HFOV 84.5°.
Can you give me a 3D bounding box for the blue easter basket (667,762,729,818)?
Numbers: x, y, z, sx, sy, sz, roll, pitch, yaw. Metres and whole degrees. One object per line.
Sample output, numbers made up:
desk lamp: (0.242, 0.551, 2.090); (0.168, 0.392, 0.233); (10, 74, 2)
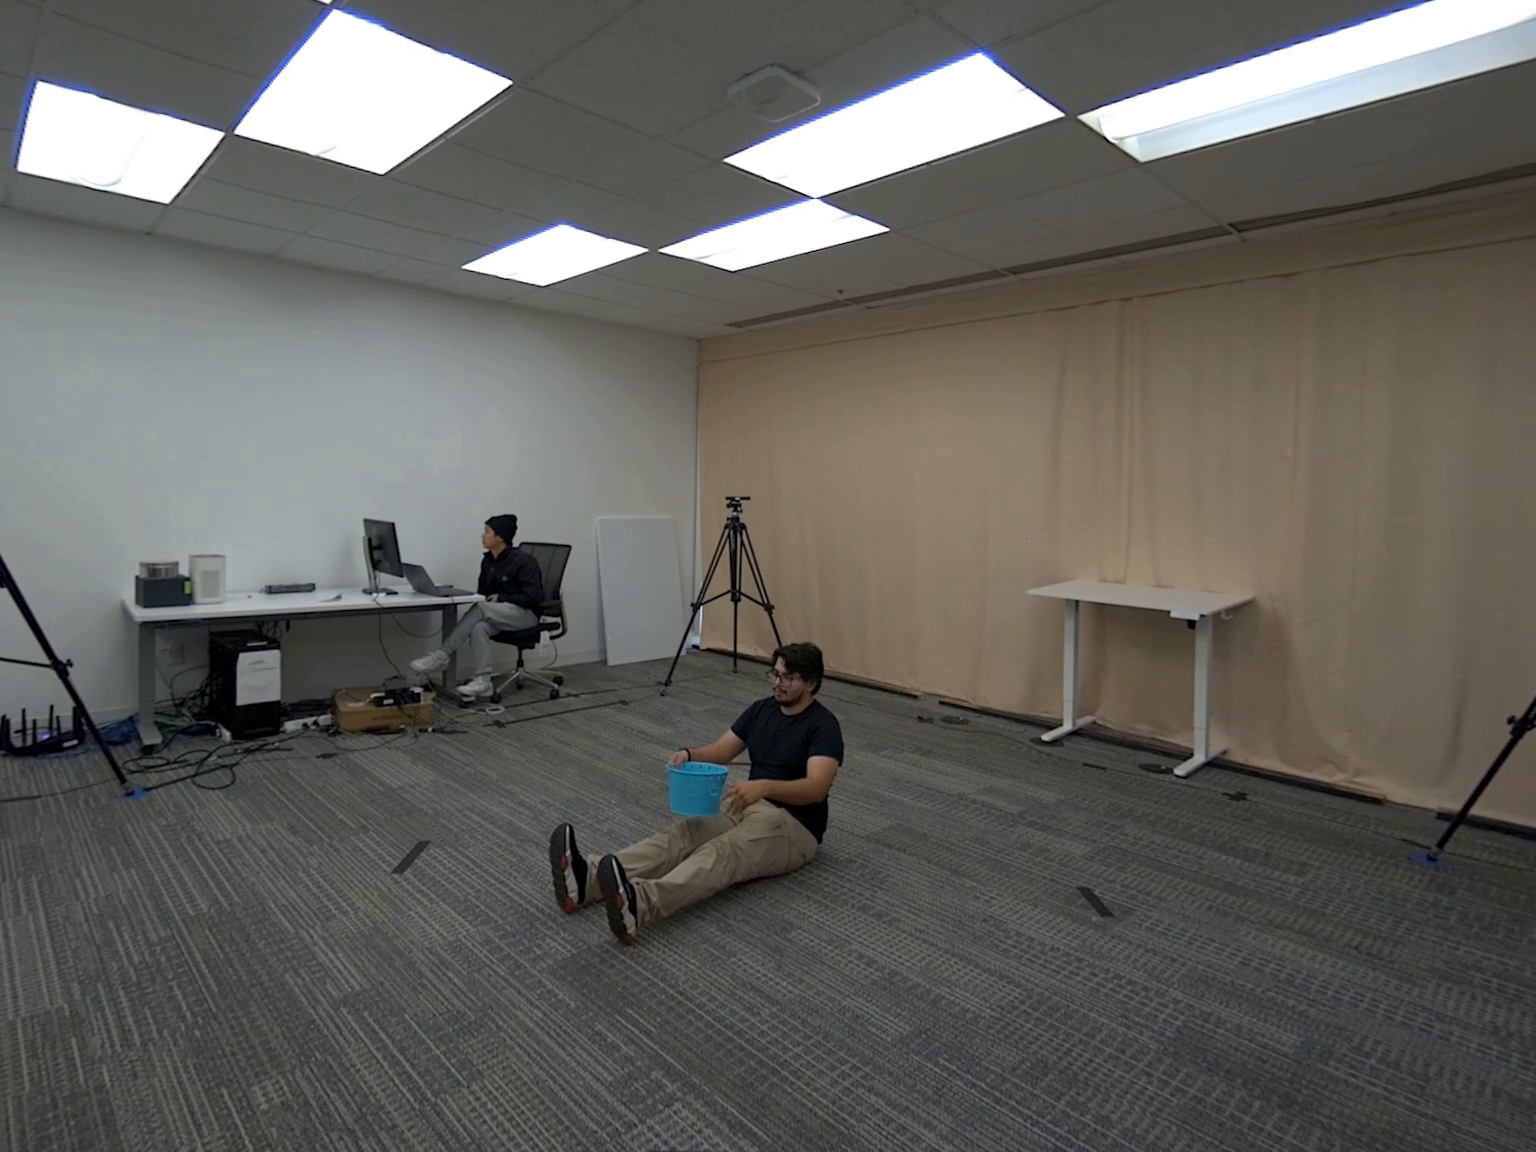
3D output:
blue easter basket: (-0.276, 0.784, 3.091); (0.243, 0.156, 0.243); (4, -3, -1)
